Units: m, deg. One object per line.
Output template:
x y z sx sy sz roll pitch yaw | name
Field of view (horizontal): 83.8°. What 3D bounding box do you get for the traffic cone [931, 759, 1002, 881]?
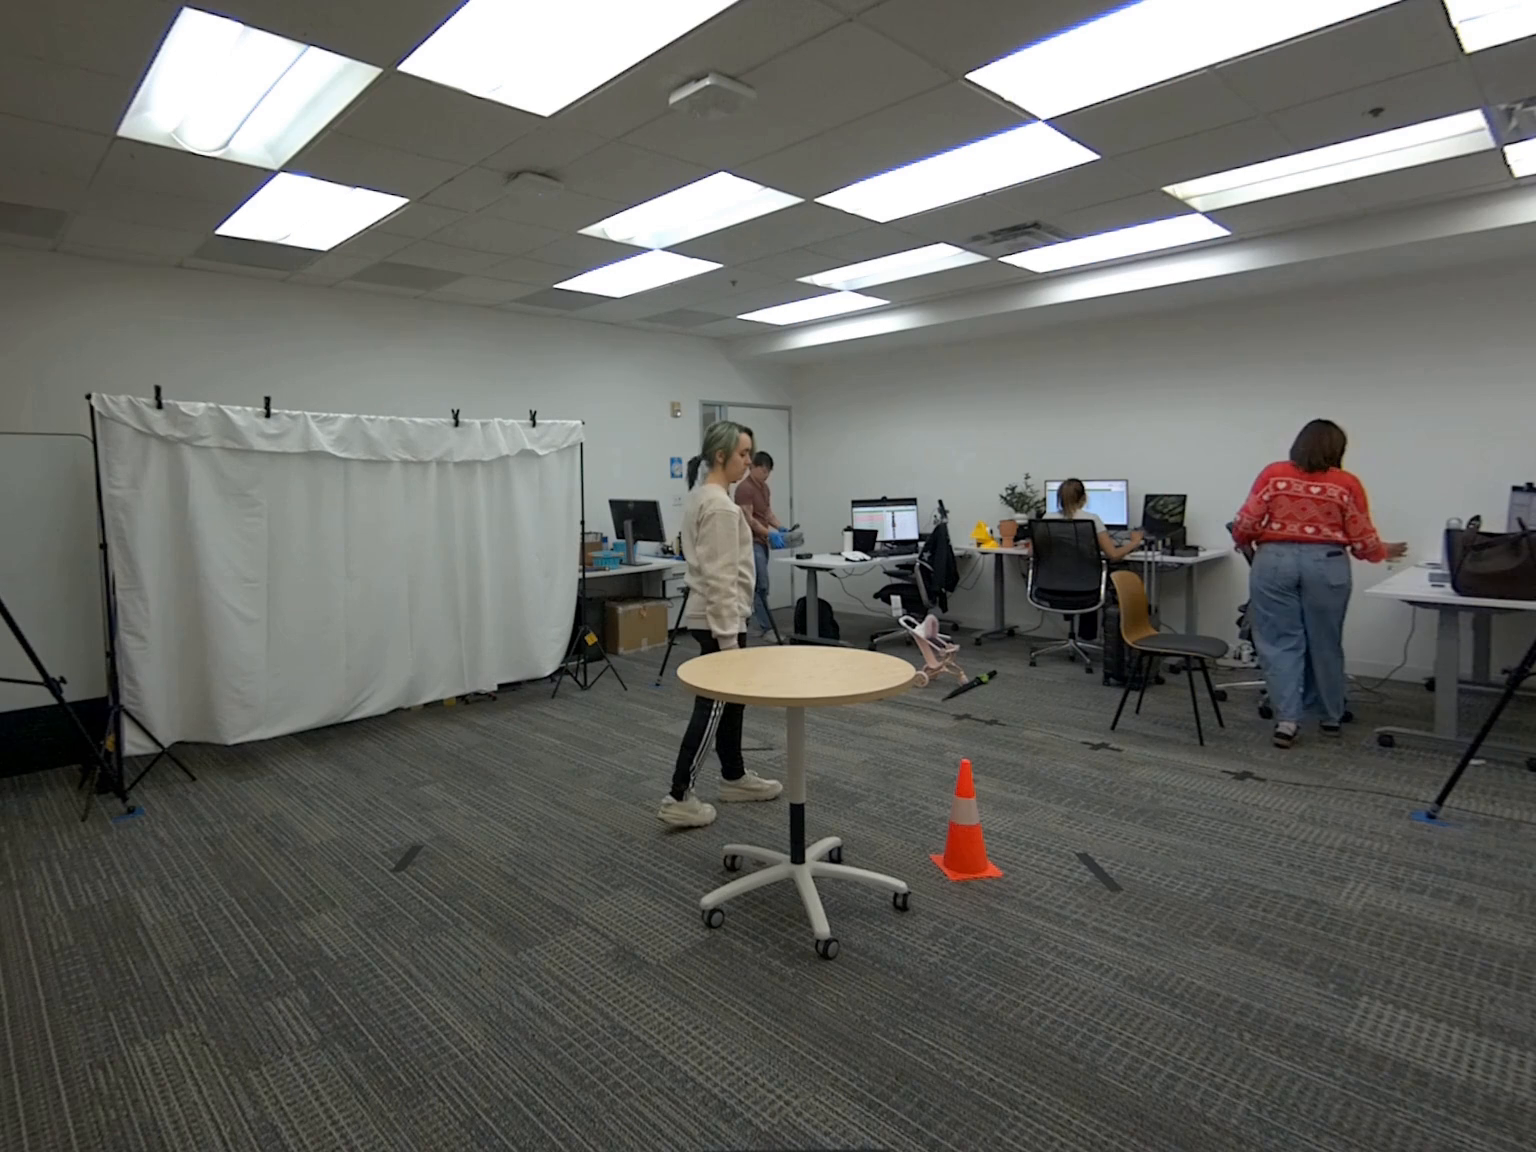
0.717 0.856 3.054 0.203 0.382 0.206 0 4 -11 | traffic cone
